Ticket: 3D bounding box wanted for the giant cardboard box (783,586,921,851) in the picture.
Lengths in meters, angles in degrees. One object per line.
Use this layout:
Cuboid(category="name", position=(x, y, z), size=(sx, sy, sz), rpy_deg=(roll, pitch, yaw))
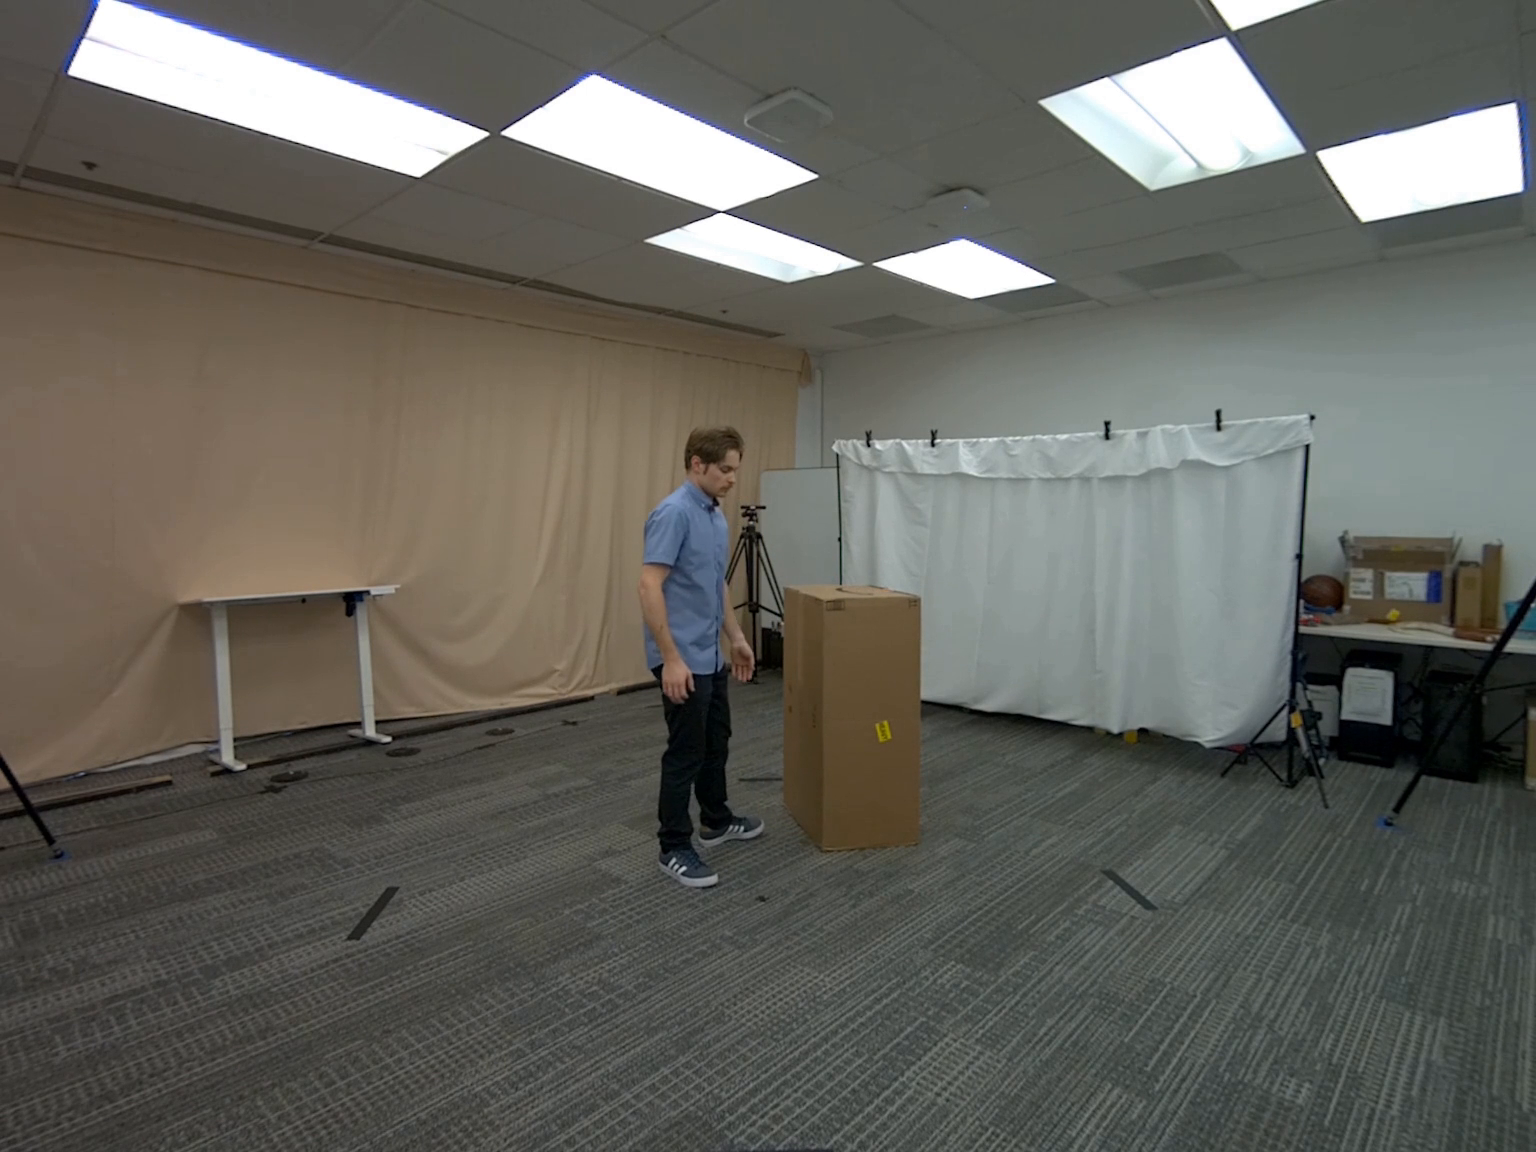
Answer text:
Cuboid(category="giant cardboard box", position=(0.349, 0.578, 3.684), size=(0.420, 1.024, 0.587), rpy_deg=(0, 3, -14))
